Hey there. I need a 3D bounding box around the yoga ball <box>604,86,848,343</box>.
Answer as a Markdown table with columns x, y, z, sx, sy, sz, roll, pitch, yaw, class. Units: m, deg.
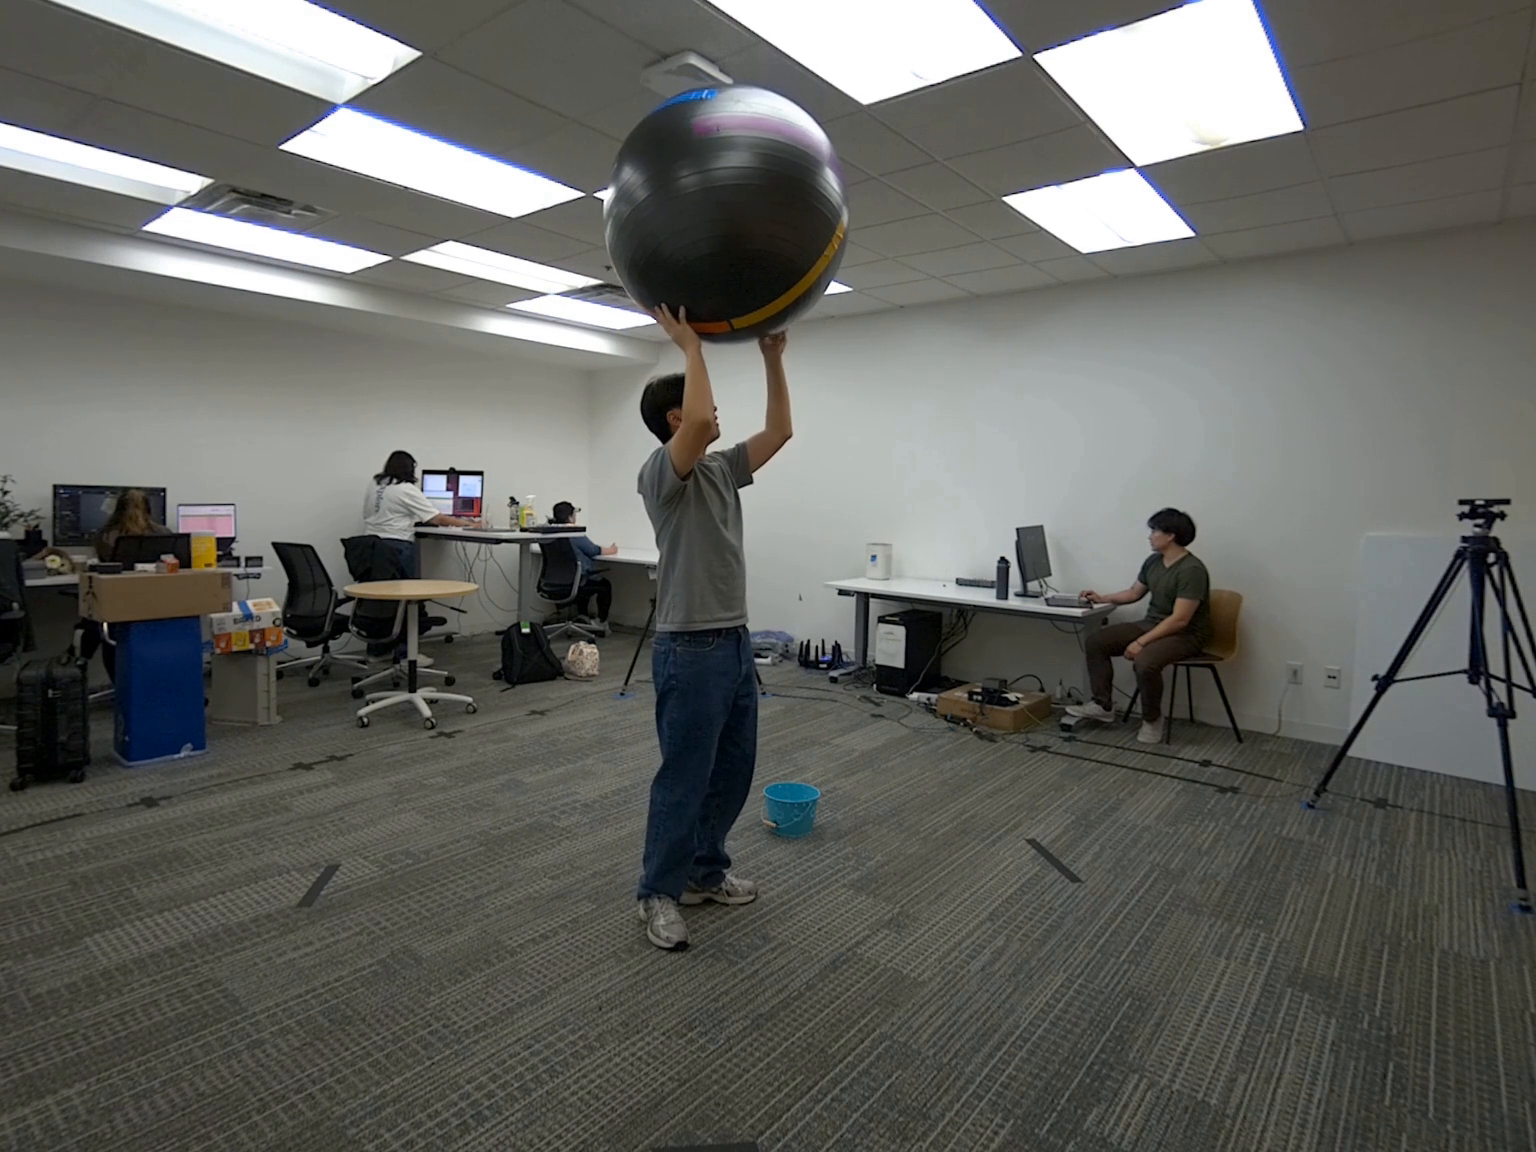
| x | y | z | sx | sy | sz | roll | pitch | yaw | class |
| --- | --- | --- | --- | --- | --- | --- | --- | --- | --- |
| -0.149 | -1.102 | 2.643 | 0.757 | 0.756 | 0.761 | 1 | 4 | -2 | yoga ball |
